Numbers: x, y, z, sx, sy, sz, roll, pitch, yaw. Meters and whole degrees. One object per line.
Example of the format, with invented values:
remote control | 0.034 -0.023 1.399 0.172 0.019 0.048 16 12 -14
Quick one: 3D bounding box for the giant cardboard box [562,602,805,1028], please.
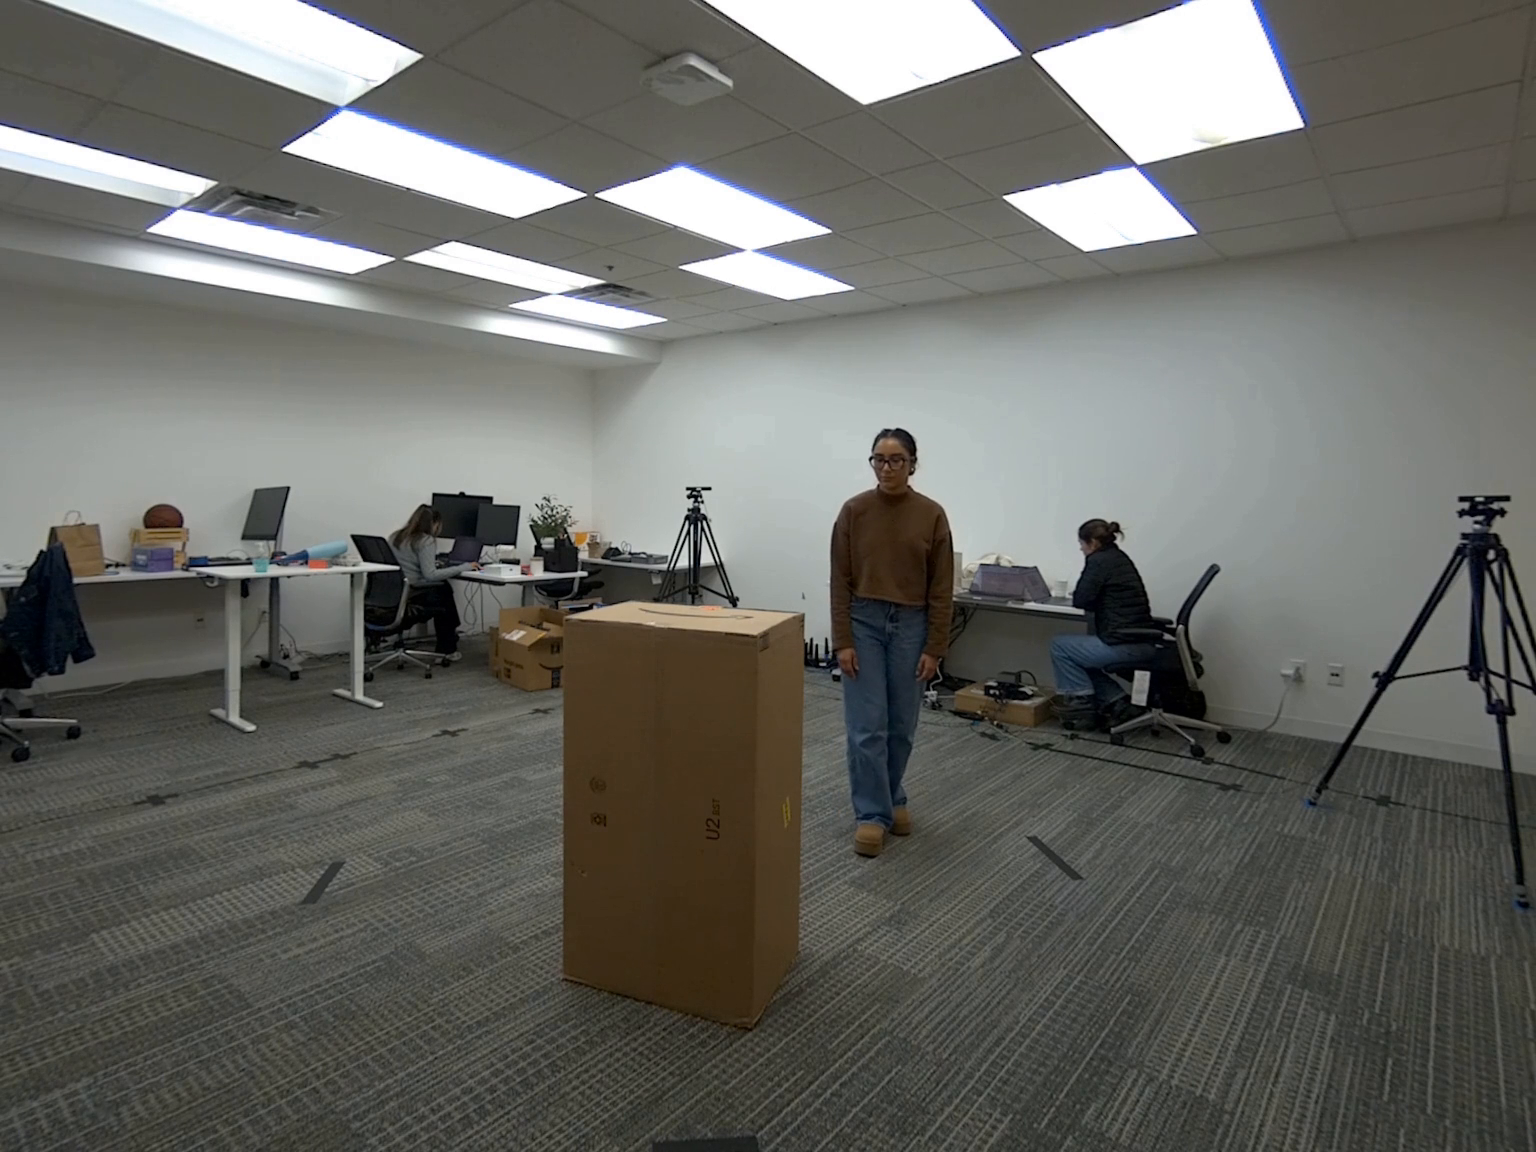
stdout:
giant cardboard box | -0.245 0.618 2.452 0.591 1.023 0.418 2 3 22
